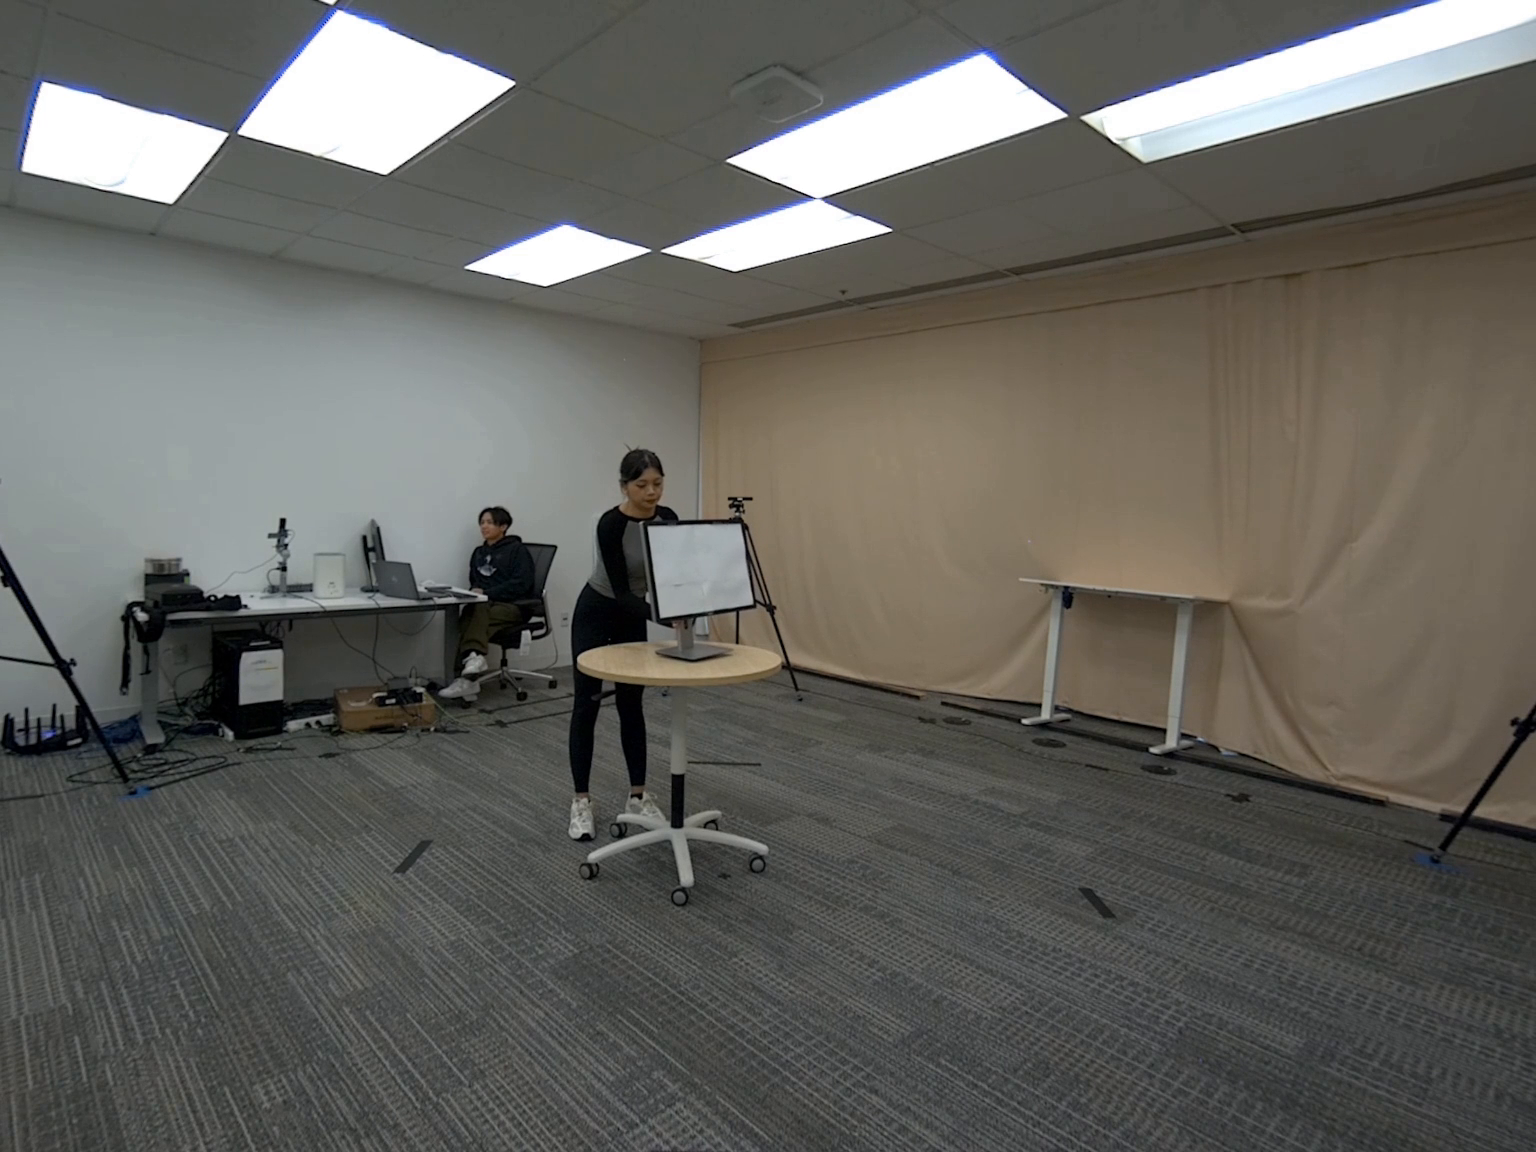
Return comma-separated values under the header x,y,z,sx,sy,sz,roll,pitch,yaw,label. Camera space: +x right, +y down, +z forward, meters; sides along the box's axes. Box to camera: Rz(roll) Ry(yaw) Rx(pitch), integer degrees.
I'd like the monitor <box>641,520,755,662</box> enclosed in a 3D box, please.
x,y,z,sx,sy,sz,roll,pitch,yaw,label
-0.285,0.049,3.192,0.179,0.513,0.518,13,10,38,monitor
